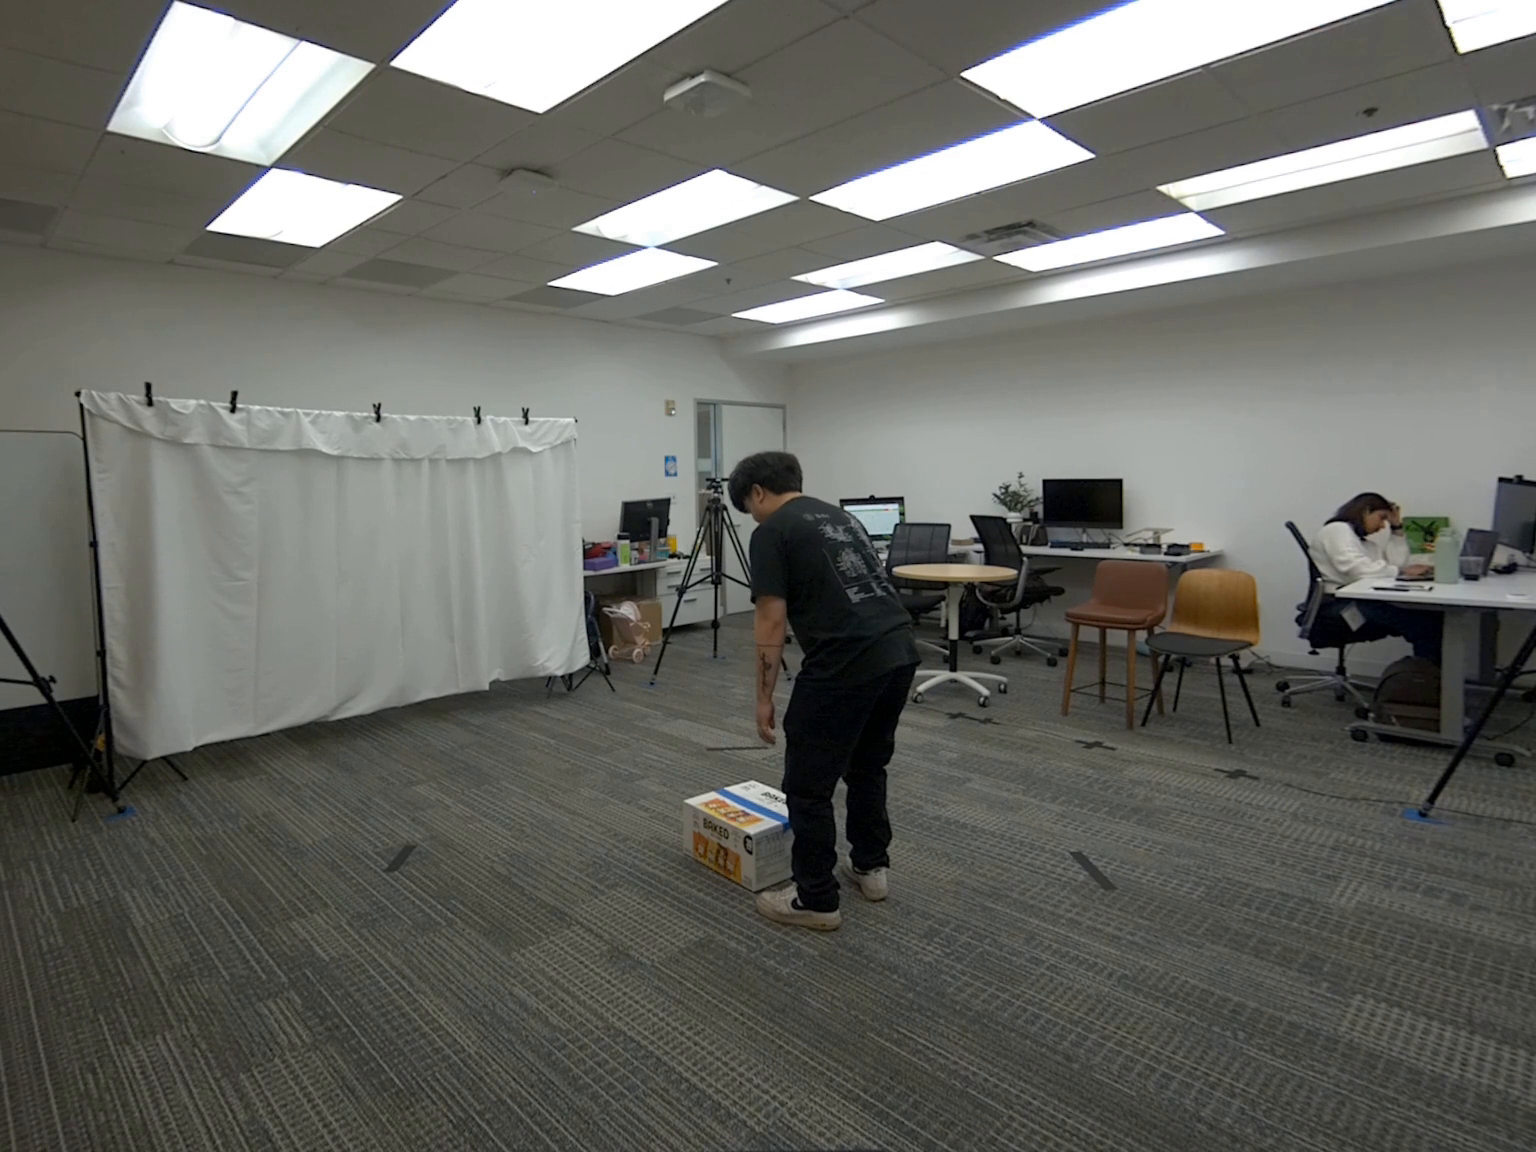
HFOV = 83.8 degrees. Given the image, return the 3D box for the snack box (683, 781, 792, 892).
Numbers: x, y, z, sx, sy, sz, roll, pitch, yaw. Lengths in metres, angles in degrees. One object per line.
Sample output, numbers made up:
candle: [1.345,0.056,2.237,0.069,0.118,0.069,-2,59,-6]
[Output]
snack box: [-0.054,0.940,3.126,0.331,0.205,0.417,-6,7,-40]
